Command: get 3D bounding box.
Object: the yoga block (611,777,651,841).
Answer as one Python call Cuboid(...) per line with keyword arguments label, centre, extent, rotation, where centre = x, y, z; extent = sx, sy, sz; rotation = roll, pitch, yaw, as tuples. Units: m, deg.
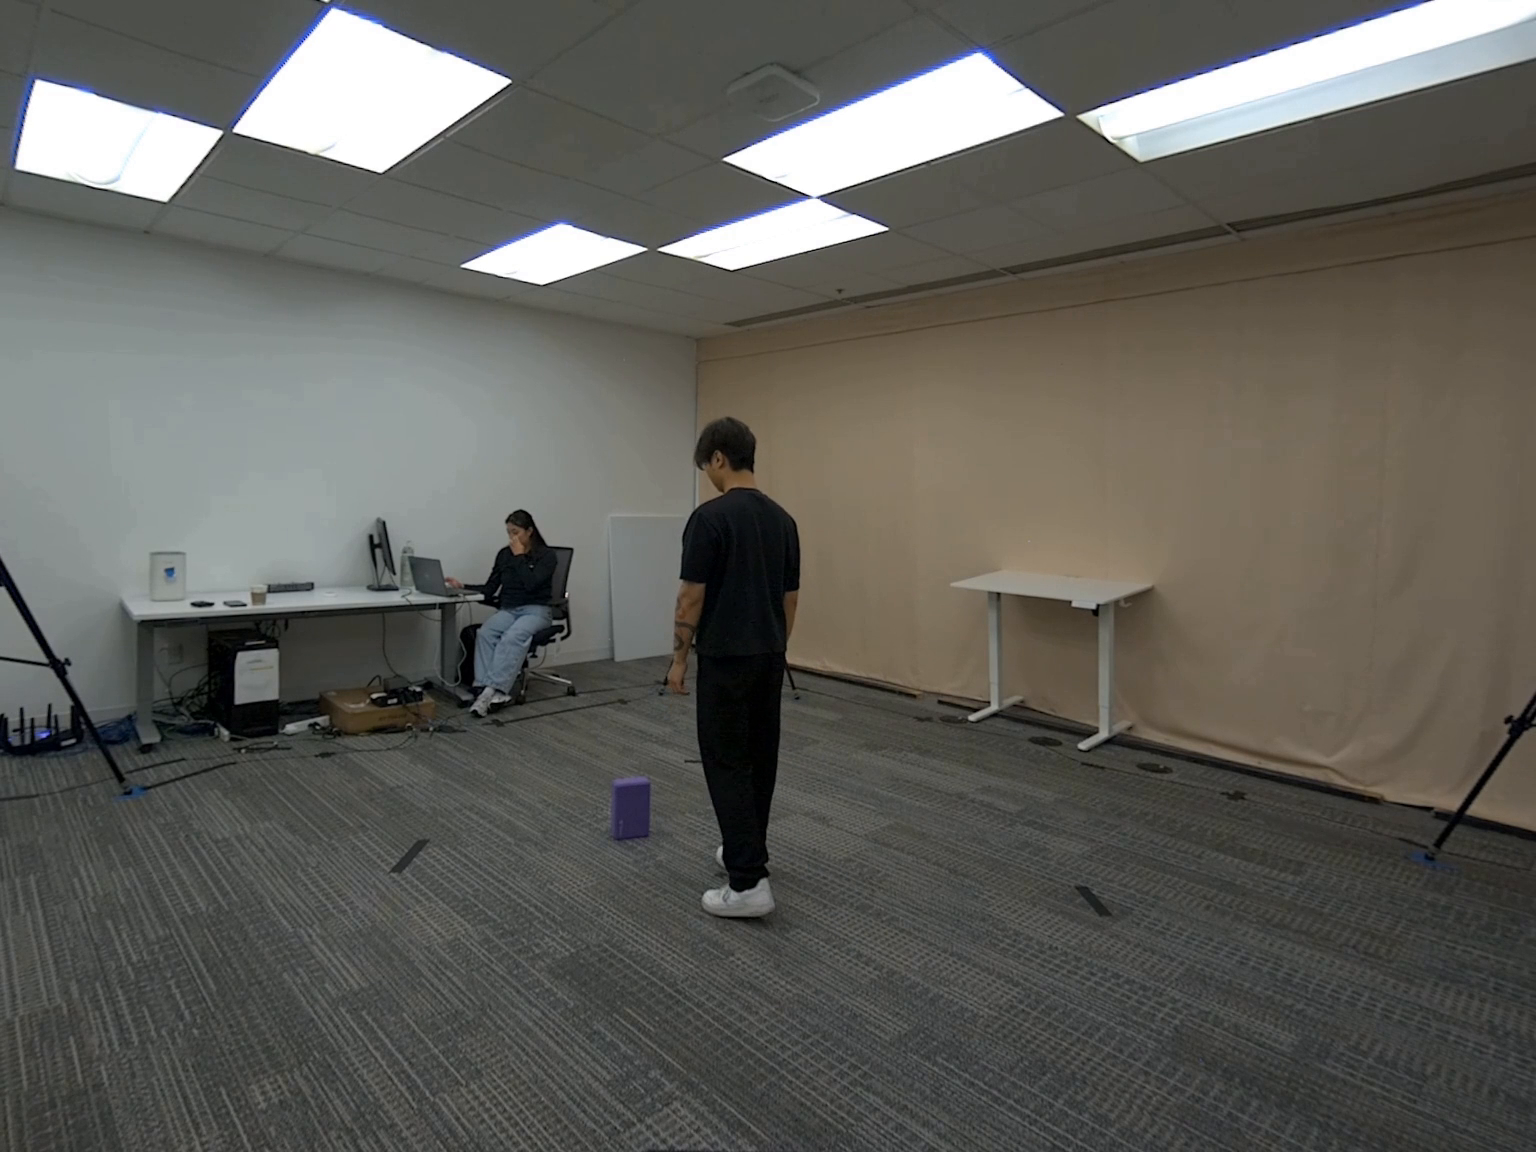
Cuboid(label="yoga block", centre=(-0.568, 0.947, 3.440), extent=(0.146, 0.229, 0.078), rotation=(0, 4, -22))
